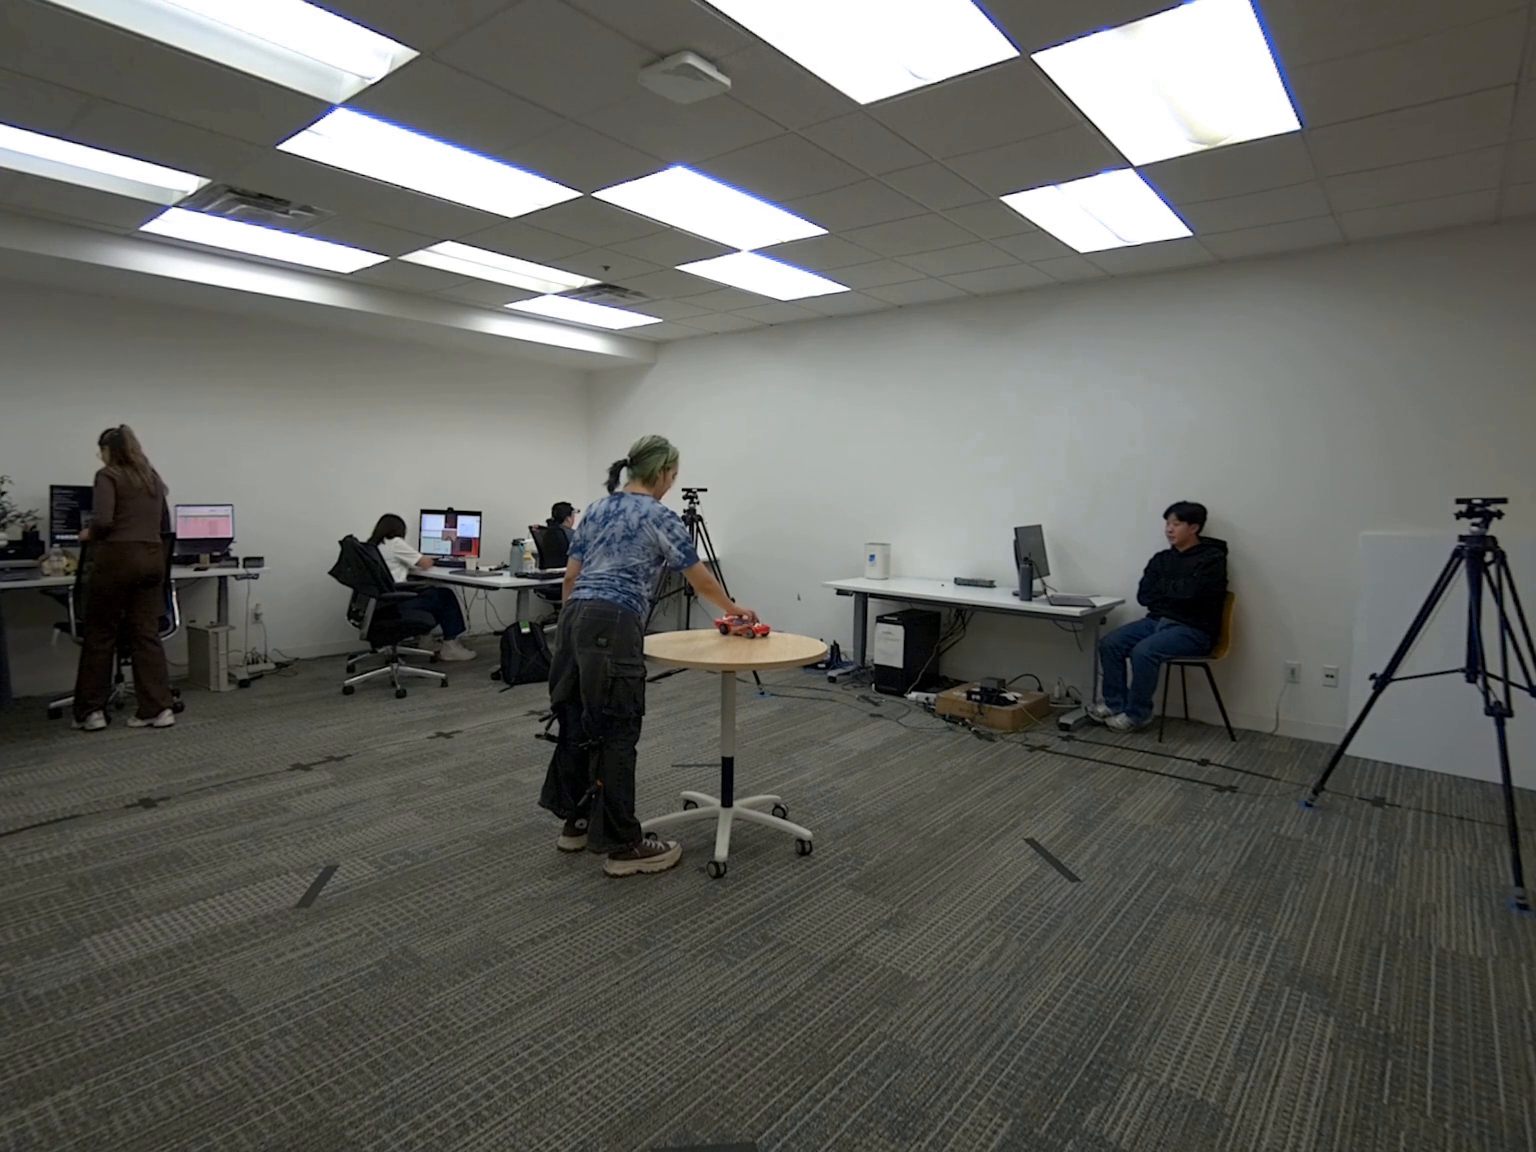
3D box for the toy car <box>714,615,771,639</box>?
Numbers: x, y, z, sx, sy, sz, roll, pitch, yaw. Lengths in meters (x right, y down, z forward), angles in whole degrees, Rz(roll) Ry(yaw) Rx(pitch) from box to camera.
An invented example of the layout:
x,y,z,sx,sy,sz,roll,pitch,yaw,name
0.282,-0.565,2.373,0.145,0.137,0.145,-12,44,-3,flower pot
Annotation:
x,y,z,sx,sy,sz,roll,pitch,yaw,name
-0.125,0.214,3.589,0.264,0.082,0.126,19,15,40,toy car
